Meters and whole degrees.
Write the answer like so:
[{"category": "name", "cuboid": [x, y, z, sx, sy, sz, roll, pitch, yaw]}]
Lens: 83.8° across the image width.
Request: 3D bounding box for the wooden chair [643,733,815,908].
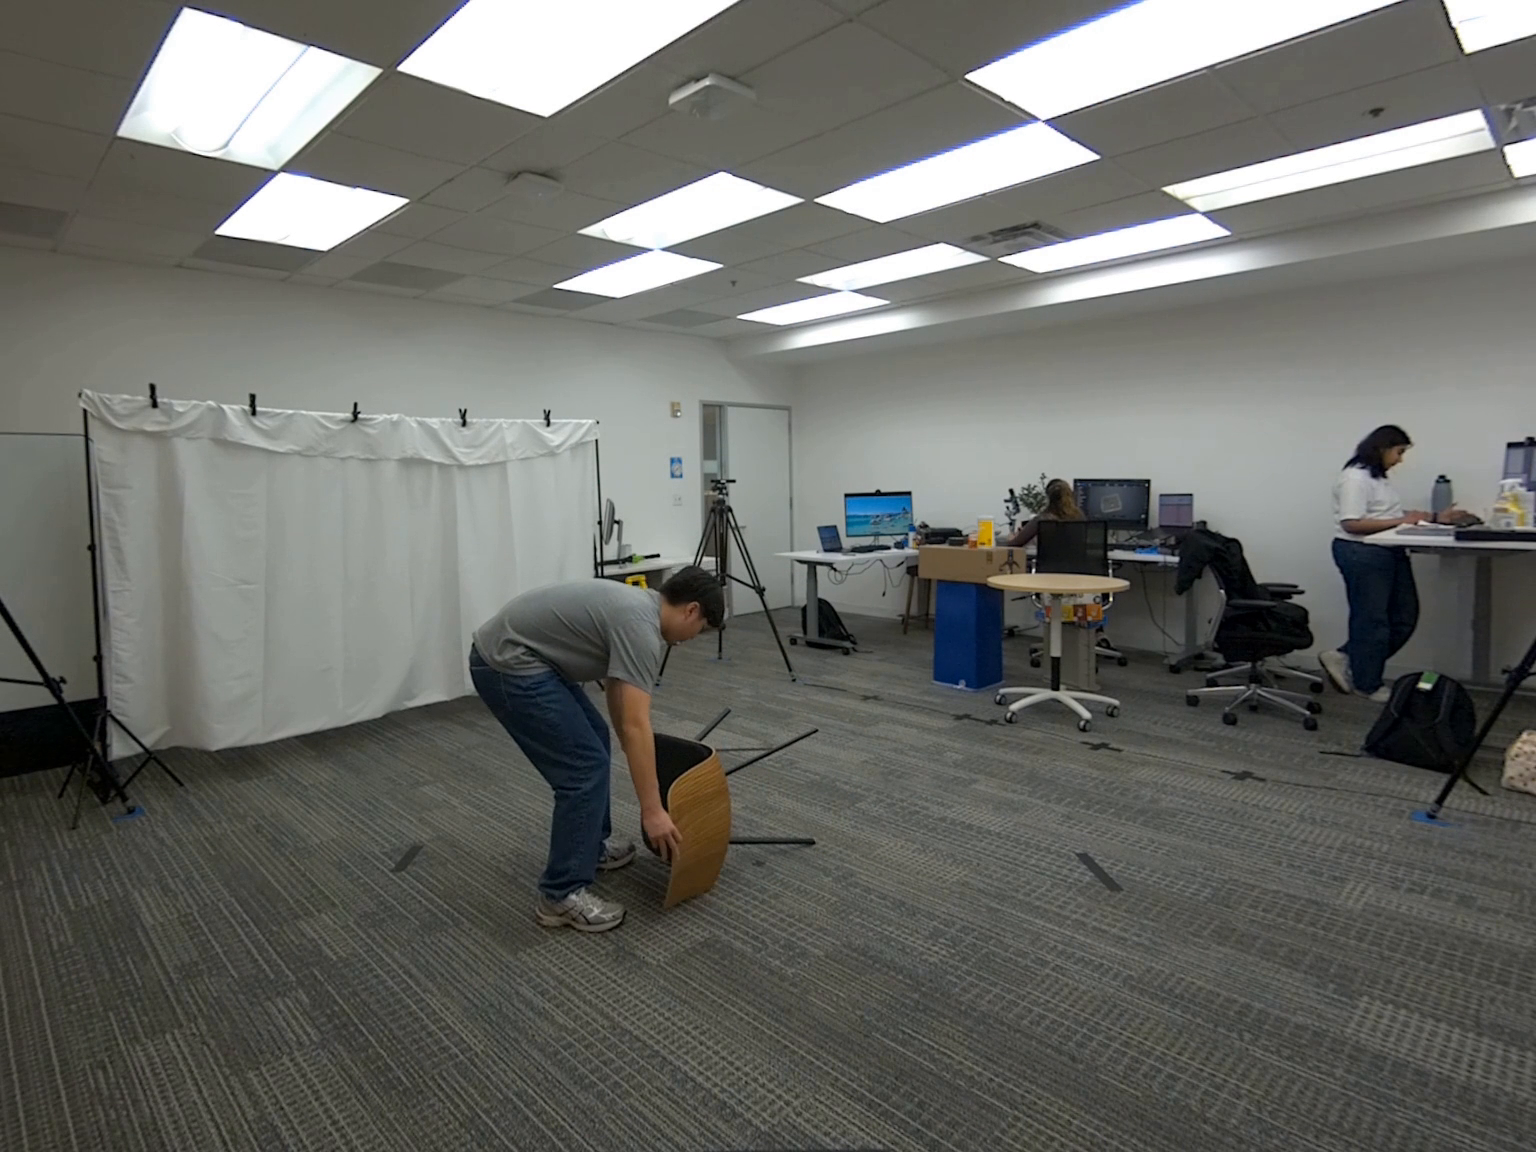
[{"category": "wooden chair", "cuboid": [-0.260, 0.810, 3.088, 0.538, 0.476, 0.856, 5, 7, 34]}]
